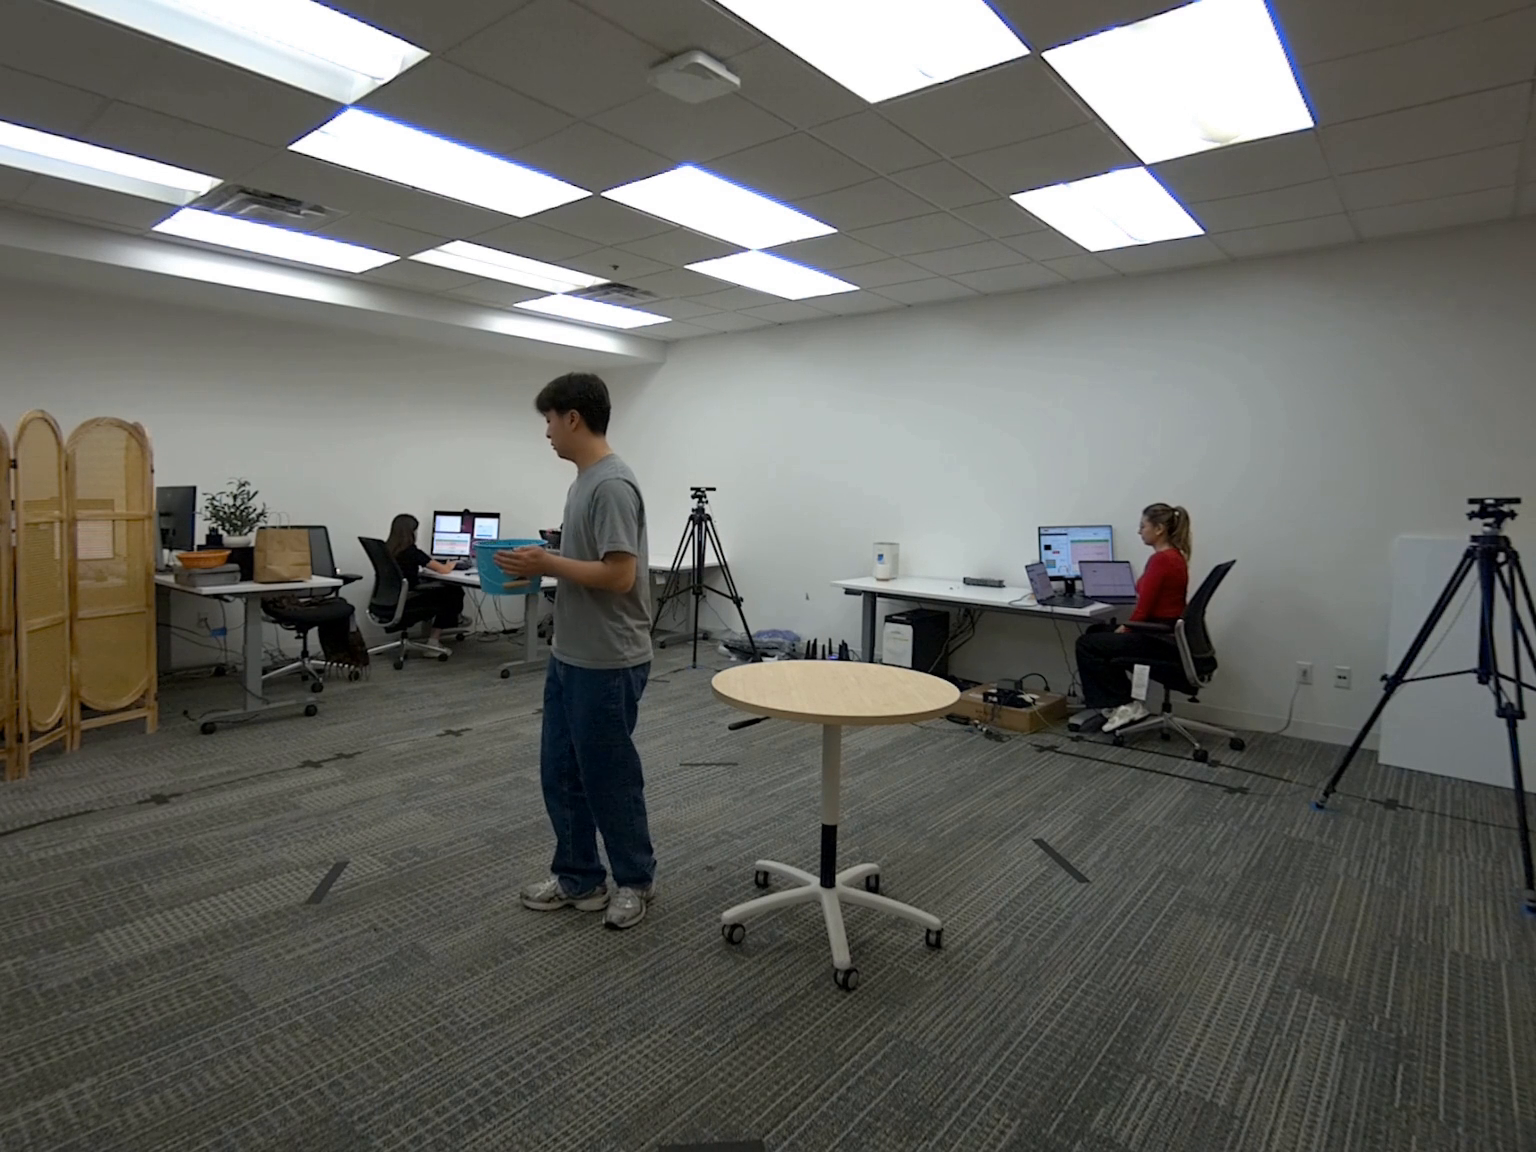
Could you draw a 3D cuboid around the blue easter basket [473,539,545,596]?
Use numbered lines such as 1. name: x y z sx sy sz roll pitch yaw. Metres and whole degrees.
1. blue easter basket: -0.809 -0.032 2.661 0.243 0.155 0.245 -1 7 -2
